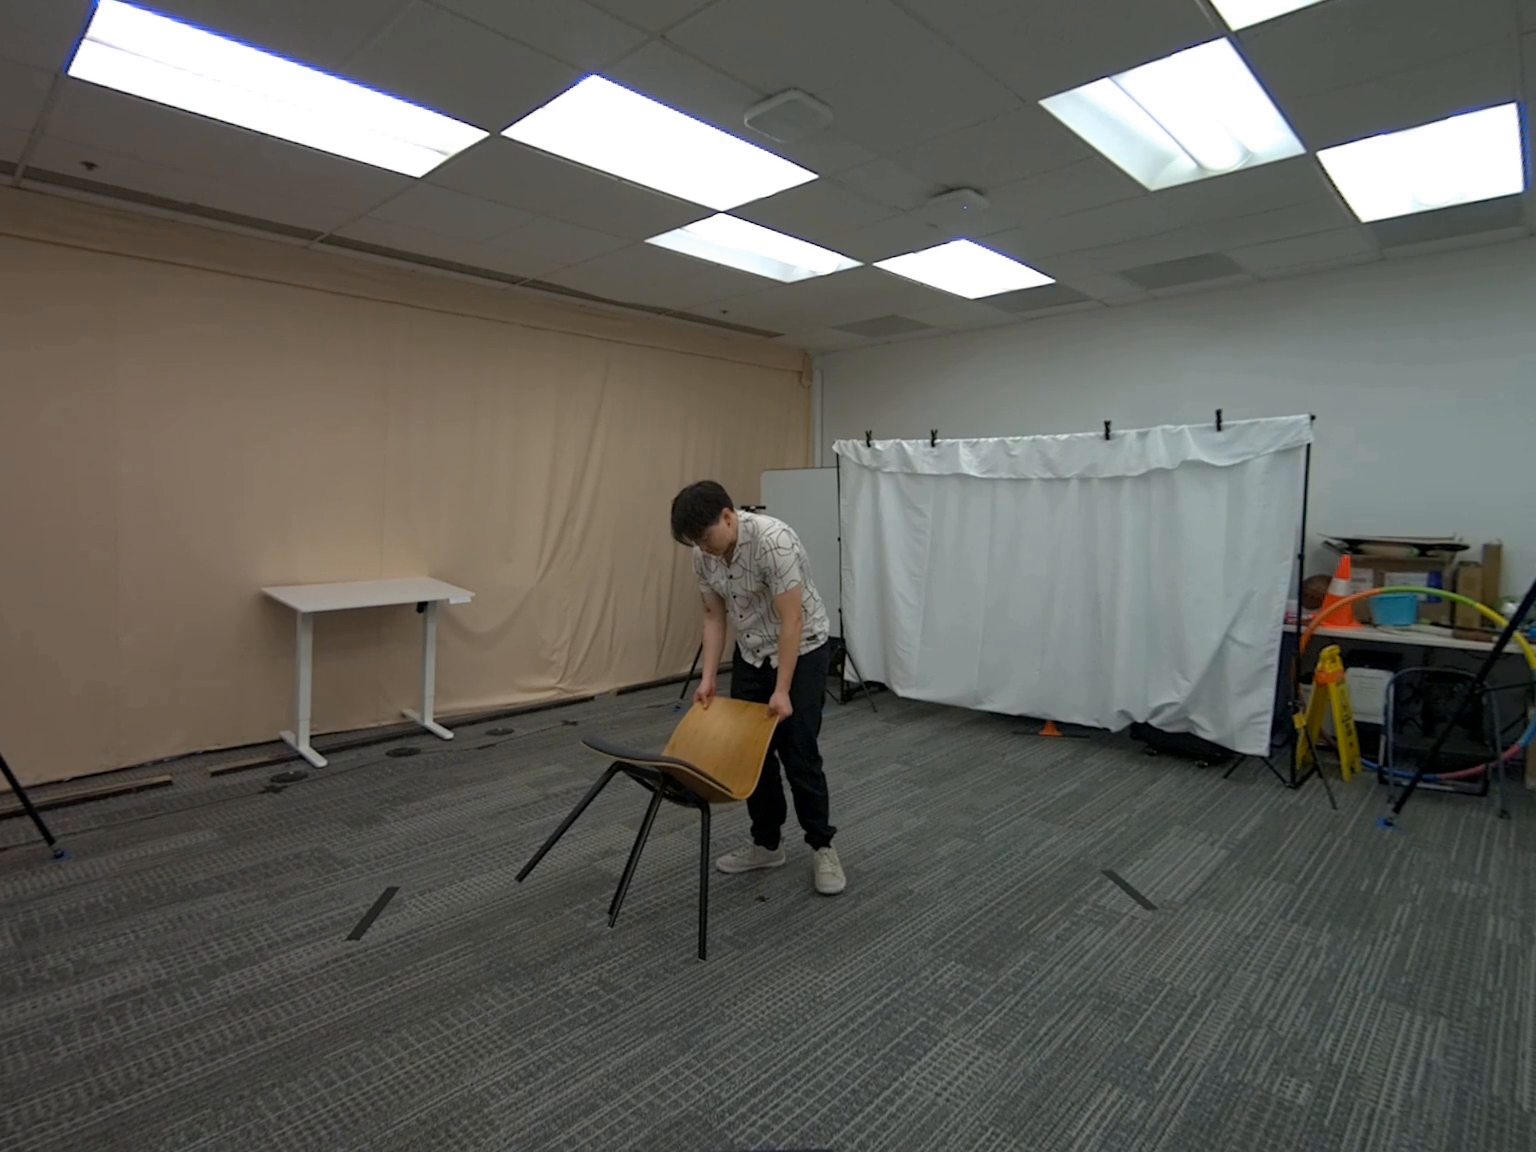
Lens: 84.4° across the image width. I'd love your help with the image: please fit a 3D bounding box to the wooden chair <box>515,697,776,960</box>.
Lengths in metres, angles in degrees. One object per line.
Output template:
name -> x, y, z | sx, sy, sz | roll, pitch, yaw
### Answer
wooden chair -> -0.343, 0.680, 2.726 | 0.494, 0.879, 0.505 | 3, -33, 41
